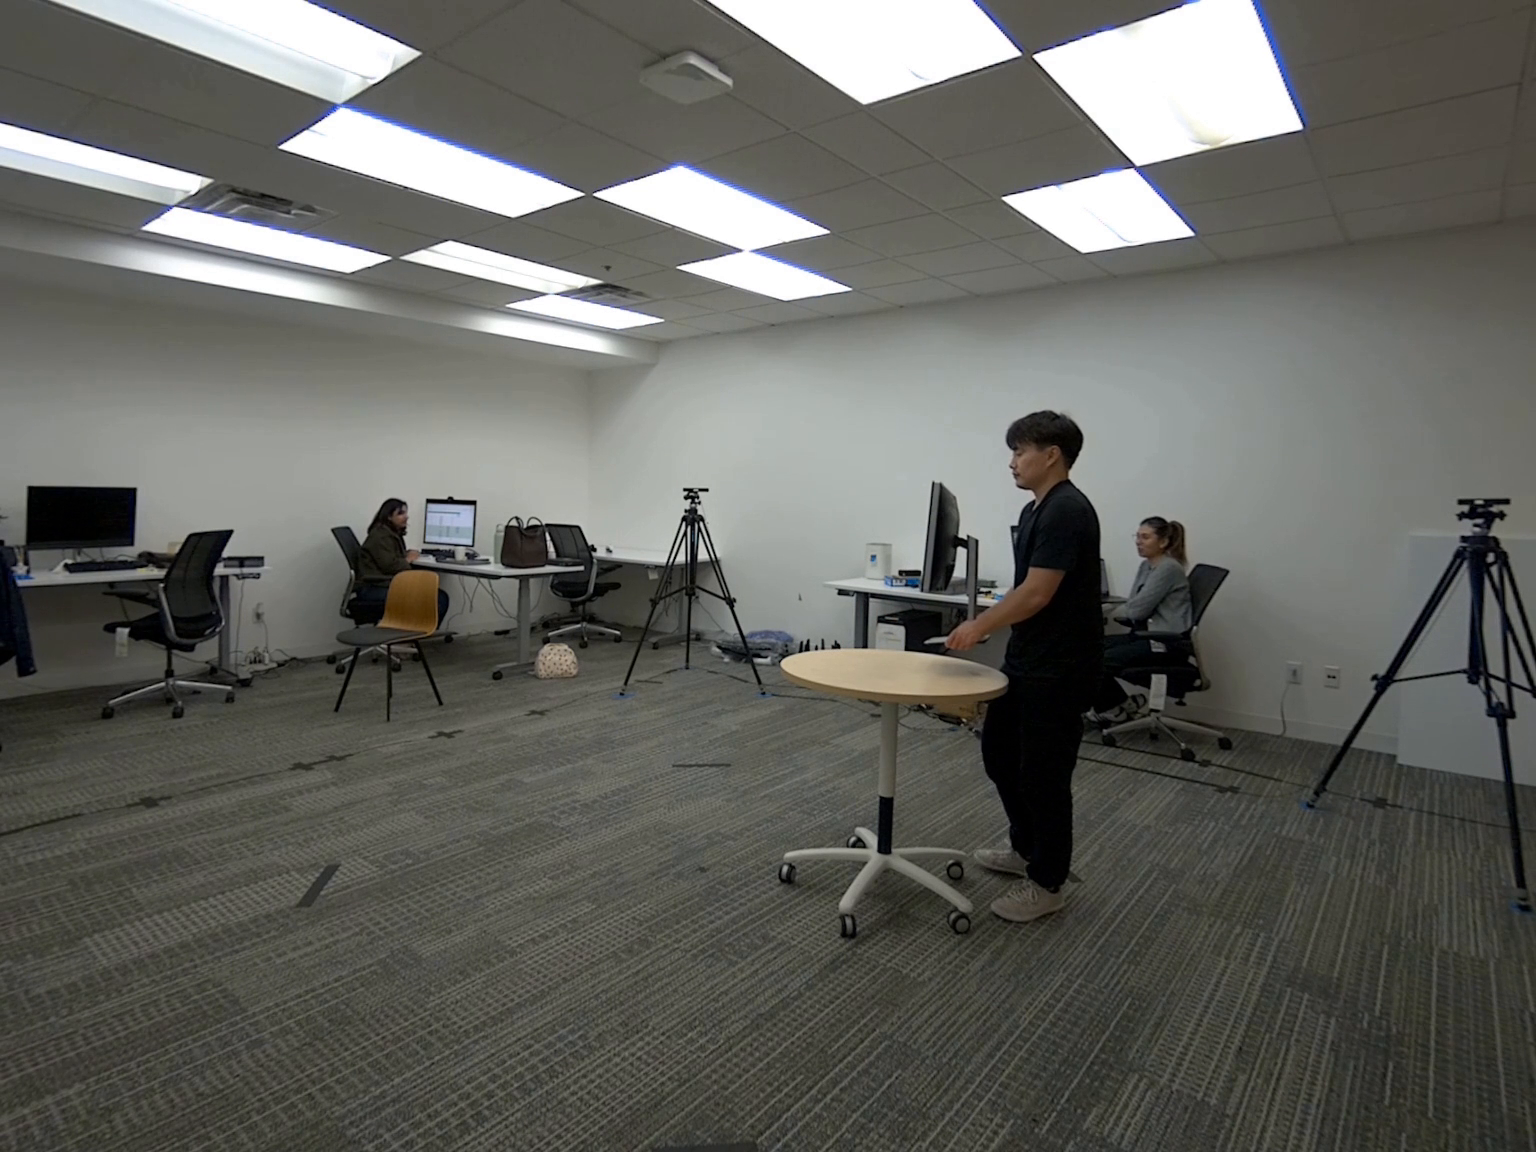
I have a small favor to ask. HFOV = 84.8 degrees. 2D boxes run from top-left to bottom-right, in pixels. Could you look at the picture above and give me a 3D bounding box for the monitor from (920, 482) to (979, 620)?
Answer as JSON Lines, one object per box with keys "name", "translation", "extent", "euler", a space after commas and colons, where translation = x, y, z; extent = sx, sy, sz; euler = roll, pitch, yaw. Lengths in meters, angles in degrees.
{"name": "monitor", "translation": [0.637, -0.041, 3.010], "extent": [0.190, 0.525, 0.528], "euler": [-7, -4, 16]}
